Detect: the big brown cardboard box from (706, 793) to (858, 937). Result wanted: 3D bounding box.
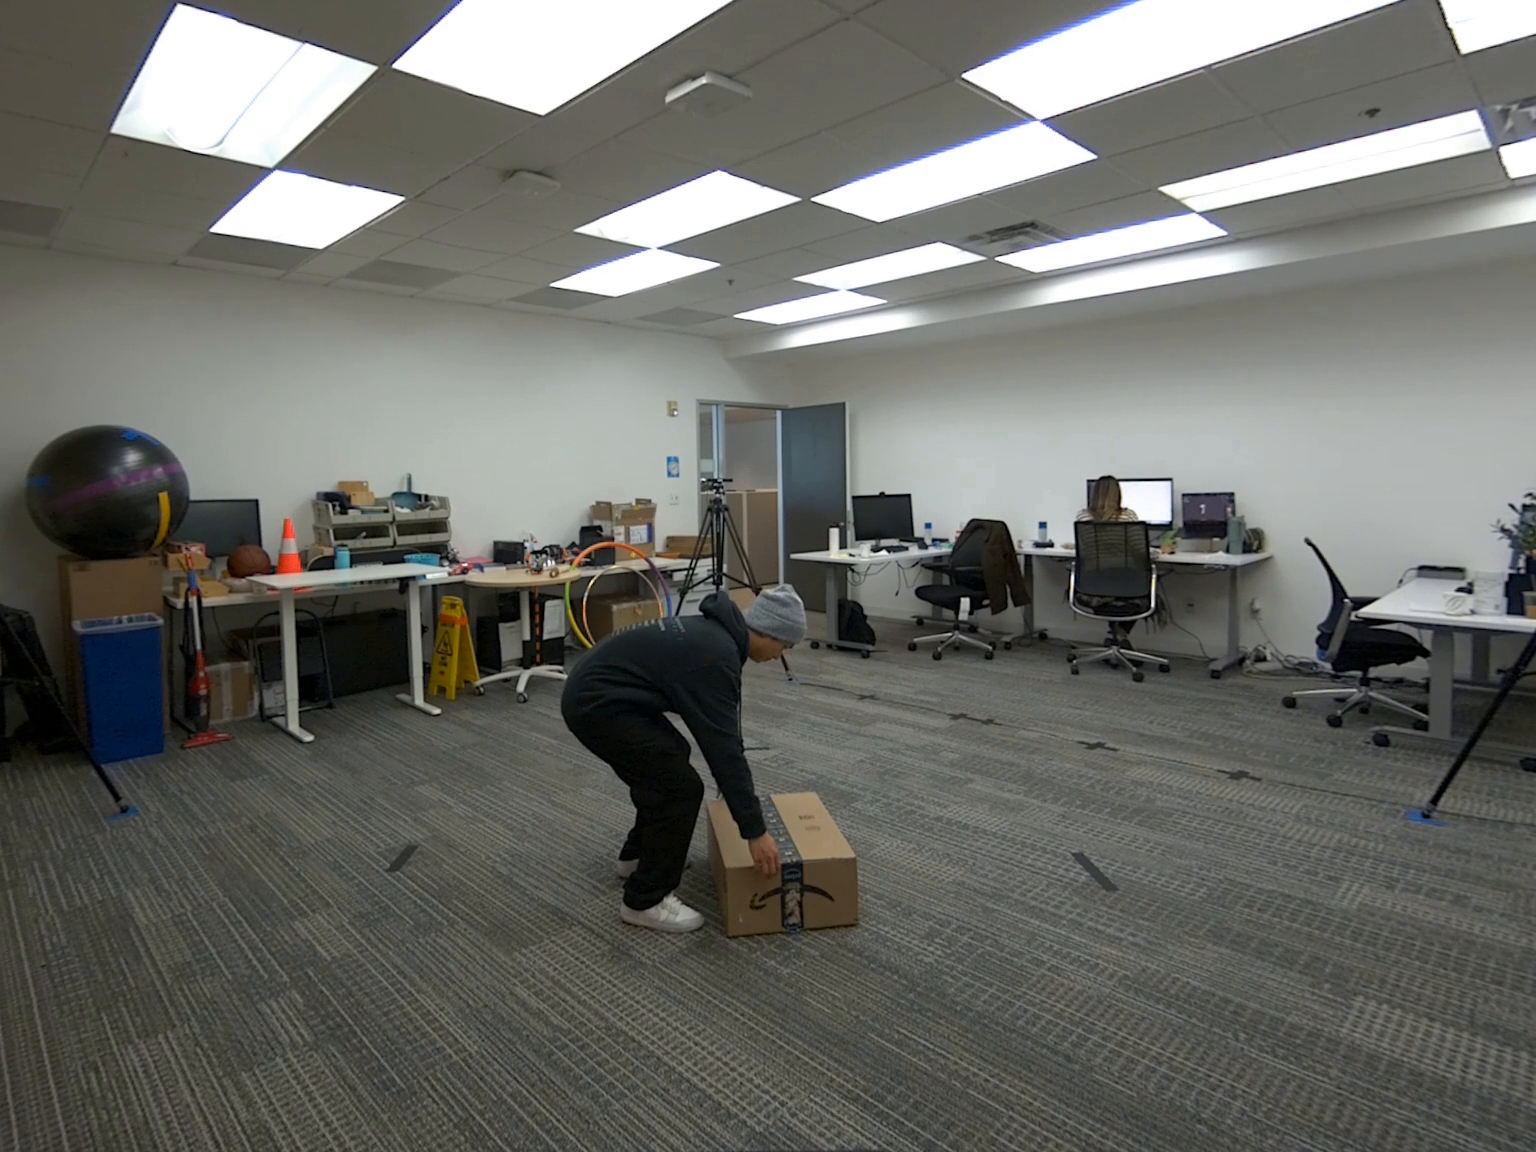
[{"bbox_3d":[0.034,0.959,2.901,0.414,0.232,0.597,-2,7,-10],"label":"big brown cardboard box"}]
